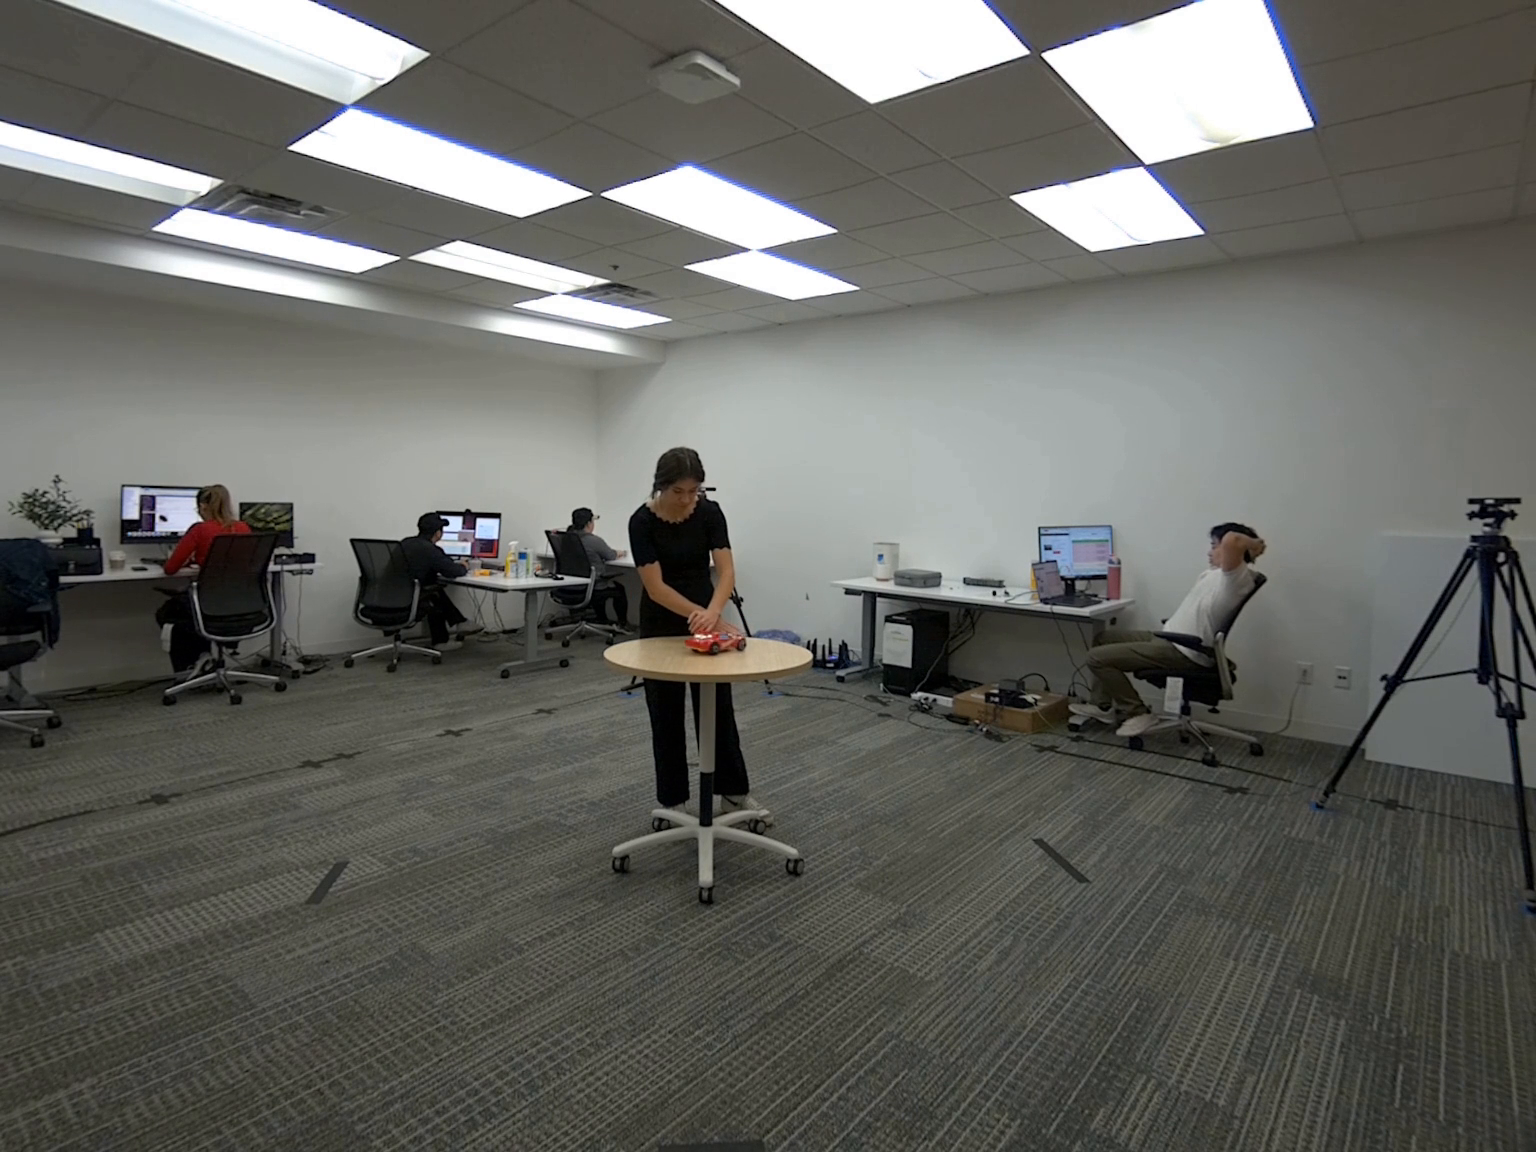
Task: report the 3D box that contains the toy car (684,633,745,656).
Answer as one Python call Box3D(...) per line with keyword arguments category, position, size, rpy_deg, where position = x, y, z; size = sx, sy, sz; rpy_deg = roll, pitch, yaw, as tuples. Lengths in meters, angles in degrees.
Box3D(category="toy car", position=(-0.208, 0.245, 3.144), size=(0.135, 0.083, 0.245), rpy_deg=(5, -6, 44))
